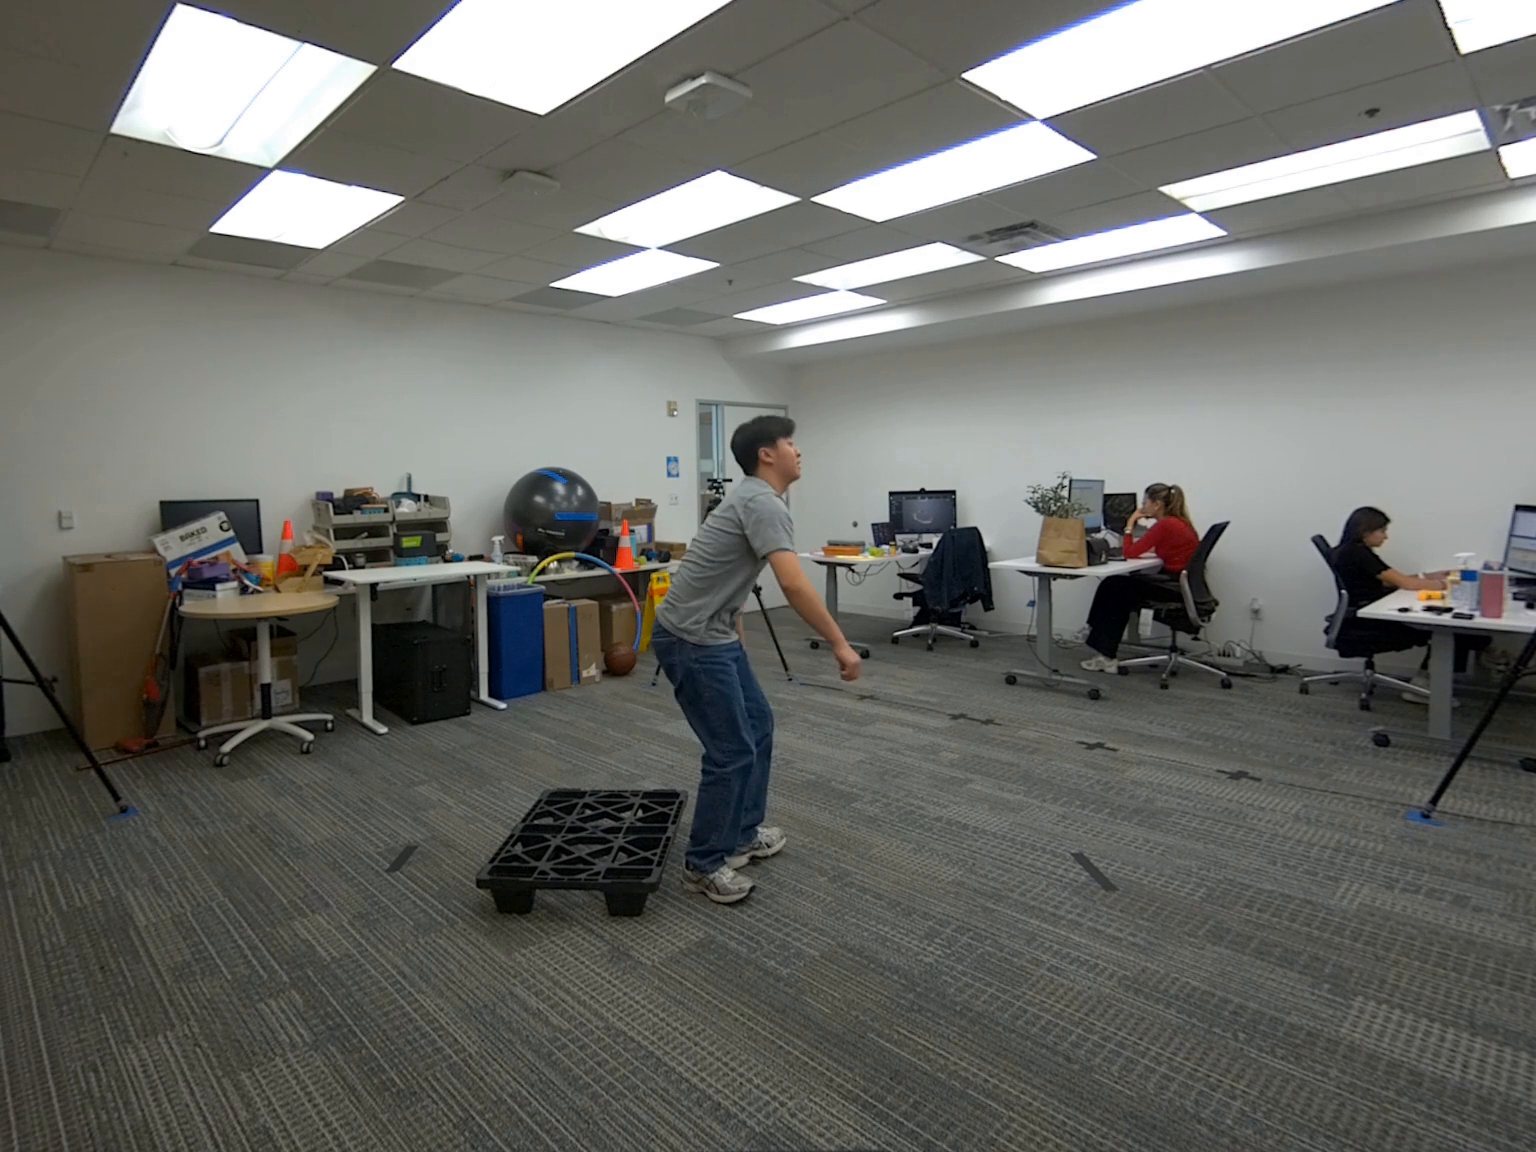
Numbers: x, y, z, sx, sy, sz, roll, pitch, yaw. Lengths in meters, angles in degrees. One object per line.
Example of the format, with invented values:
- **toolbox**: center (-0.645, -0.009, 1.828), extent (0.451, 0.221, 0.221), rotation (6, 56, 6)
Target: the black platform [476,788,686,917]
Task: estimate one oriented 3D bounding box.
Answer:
- **black platform**: center (-0.626, 0.984, 3.120), extent (0.608, 0.142, 0.806), rotation (-1, 7, 3)
